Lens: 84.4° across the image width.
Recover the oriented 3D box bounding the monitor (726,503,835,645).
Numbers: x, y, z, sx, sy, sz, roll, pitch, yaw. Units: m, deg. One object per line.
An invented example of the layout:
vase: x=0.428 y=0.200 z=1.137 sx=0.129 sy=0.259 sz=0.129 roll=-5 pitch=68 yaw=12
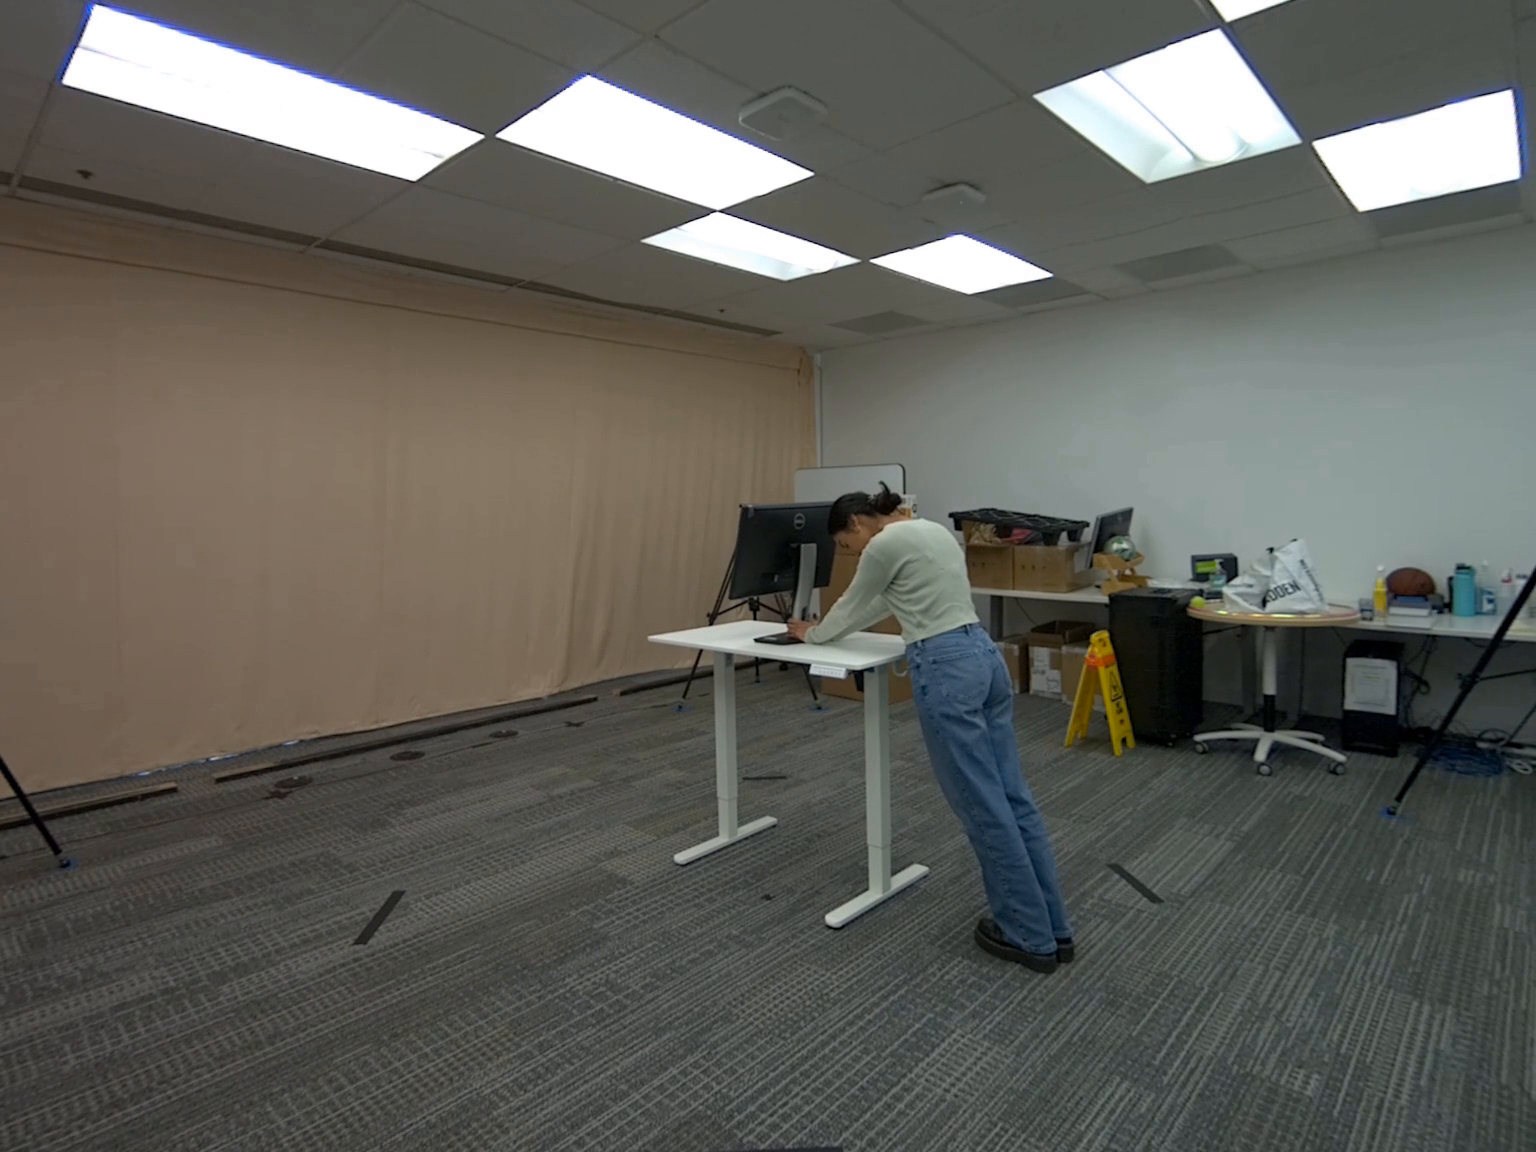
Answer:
monitor: x=0.102 y=-0.012 z=3.158 sx=0.523 sy=0.521 sz=0.193 roll=-6 pitch=7 yaw=-45
